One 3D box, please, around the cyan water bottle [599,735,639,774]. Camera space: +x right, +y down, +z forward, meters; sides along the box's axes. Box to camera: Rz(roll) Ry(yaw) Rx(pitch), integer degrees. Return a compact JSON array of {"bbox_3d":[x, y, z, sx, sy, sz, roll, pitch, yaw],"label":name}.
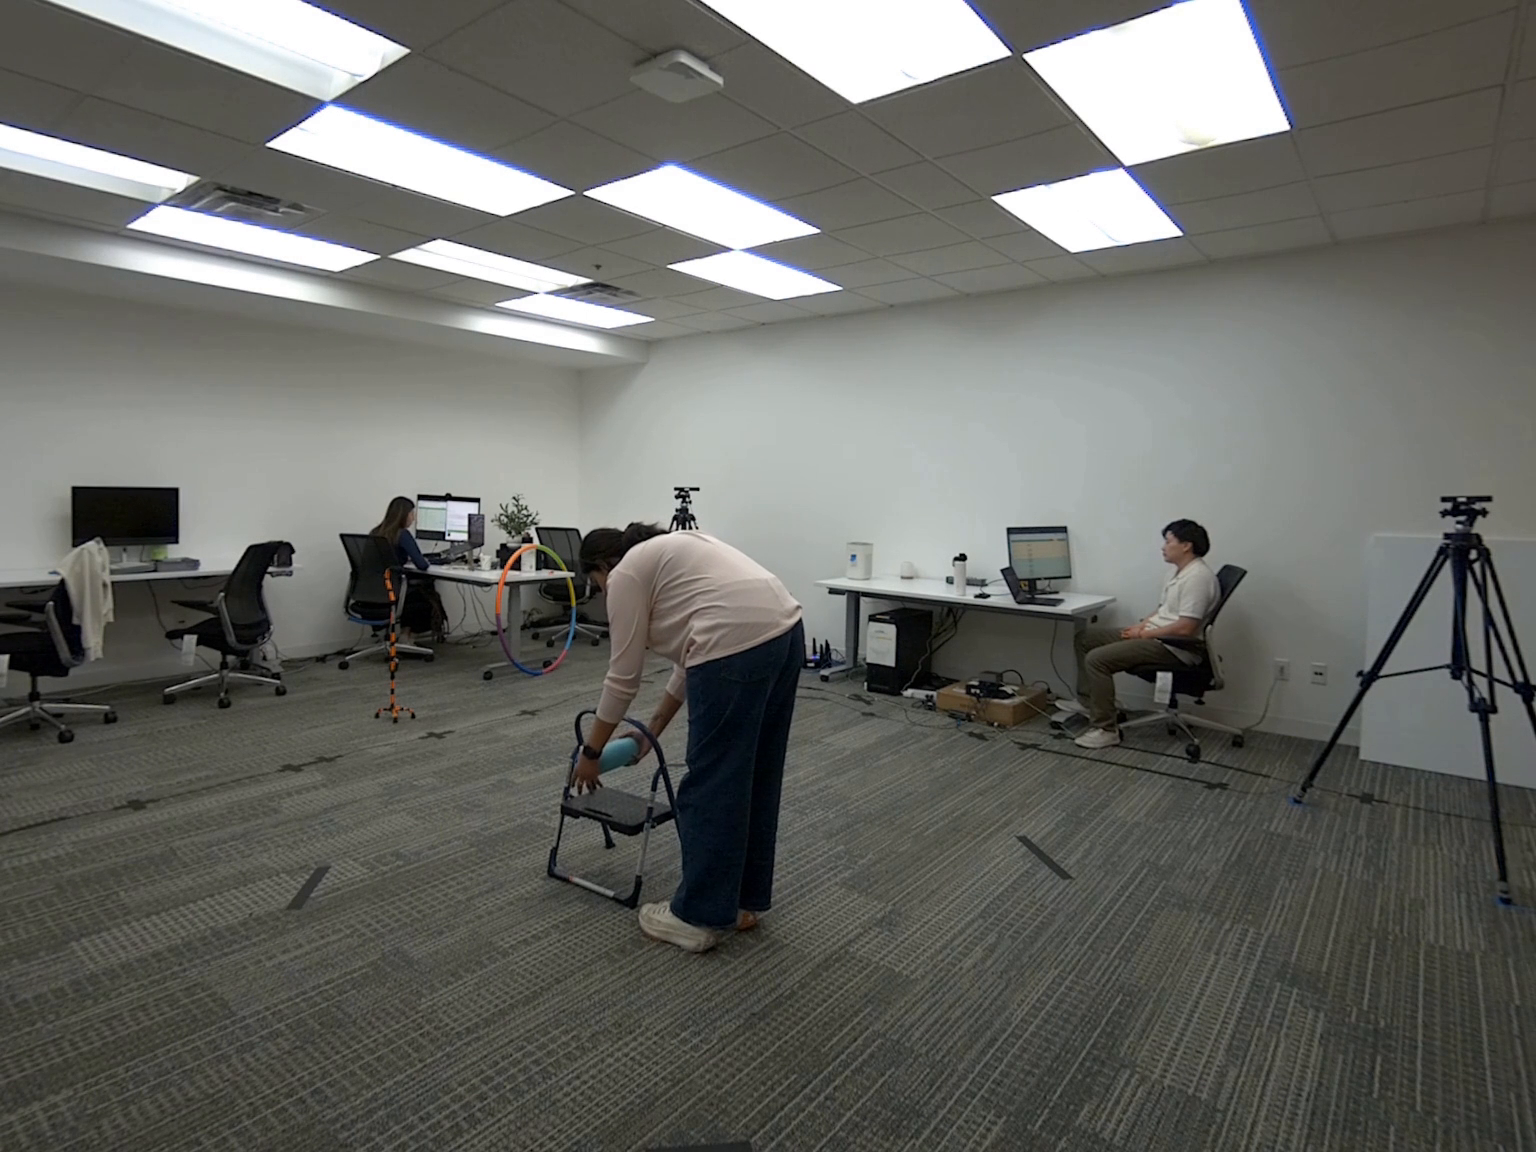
[{"bbox_3d":[-0.551,0.610,2.875,0.095,0.092,0.275,3,3,29],"label":"cyan water bottle"}]
